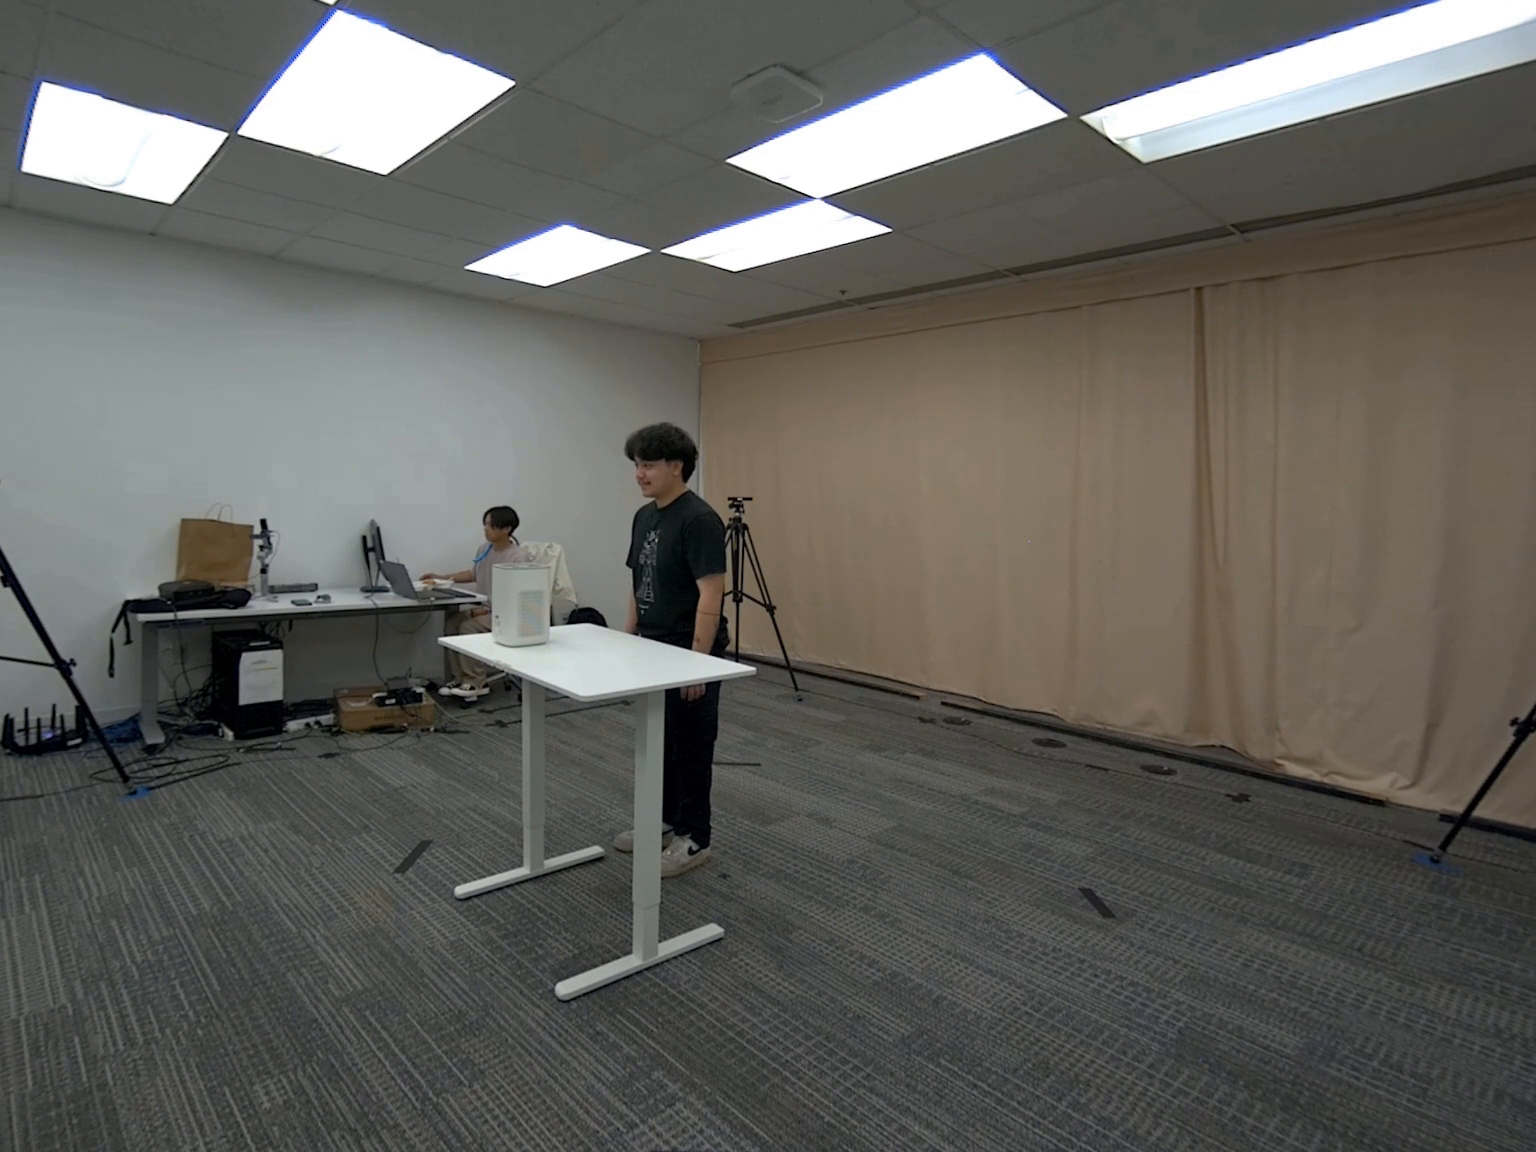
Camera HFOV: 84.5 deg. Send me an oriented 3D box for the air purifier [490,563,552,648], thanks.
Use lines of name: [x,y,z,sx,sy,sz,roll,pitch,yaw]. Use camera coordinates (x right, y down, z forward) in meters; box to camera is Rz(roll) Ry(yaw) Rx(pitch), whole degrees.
air purifier: [-0.850,0.096,2.855,0.168,0.264,0.175,-4,7,-40]
